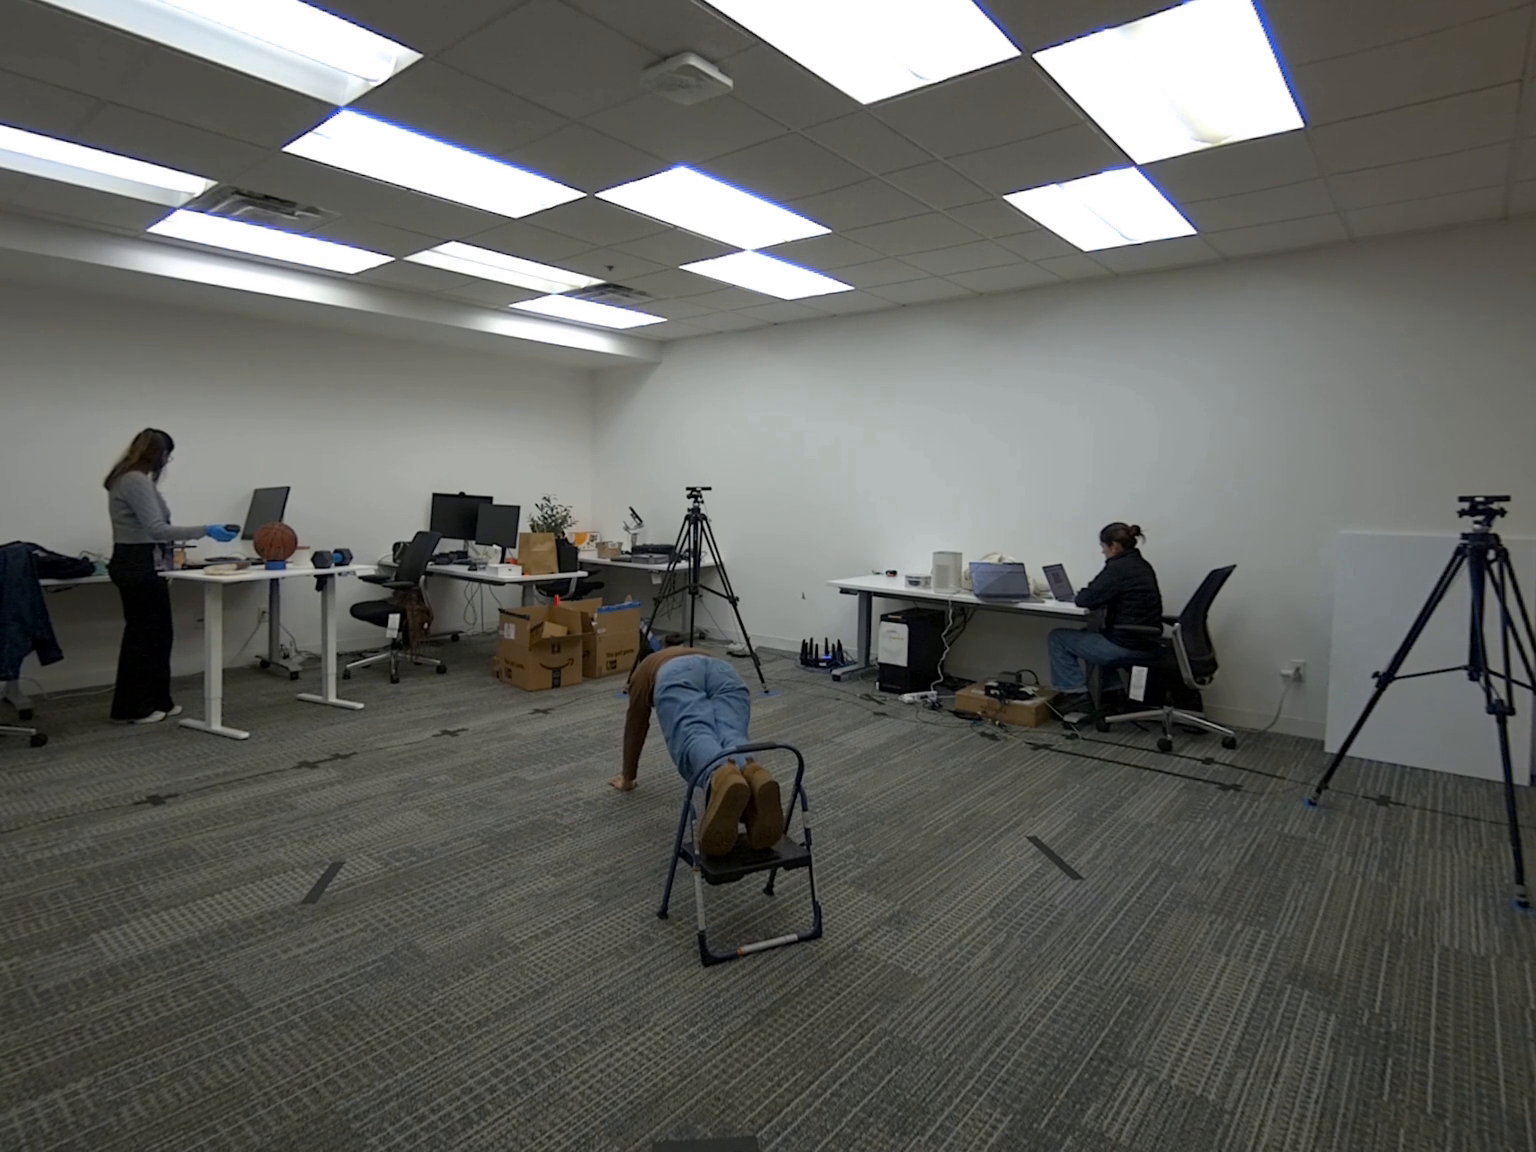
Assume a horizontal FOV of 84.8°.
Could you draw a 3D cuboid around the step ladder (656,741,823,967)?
[{"bbox_3d":[-0.094,0.810,2.687,0.419,0.604,0.360,-1,4,-29],"label":"step ladder"}]
